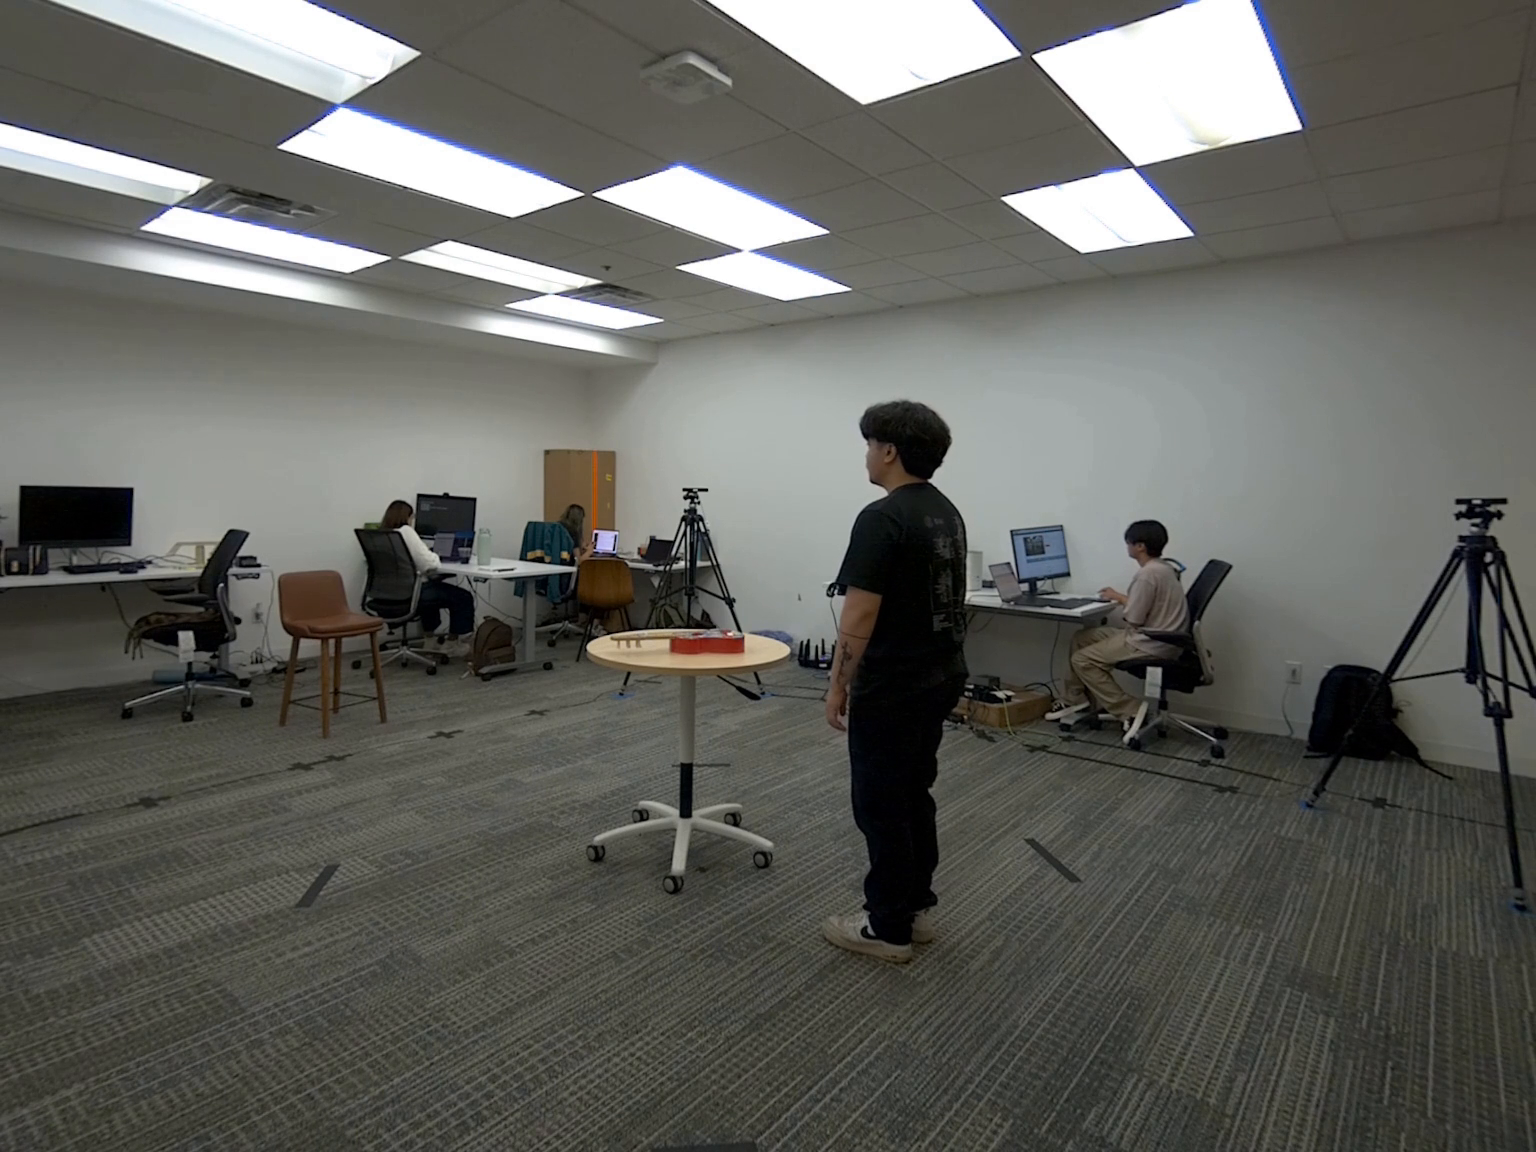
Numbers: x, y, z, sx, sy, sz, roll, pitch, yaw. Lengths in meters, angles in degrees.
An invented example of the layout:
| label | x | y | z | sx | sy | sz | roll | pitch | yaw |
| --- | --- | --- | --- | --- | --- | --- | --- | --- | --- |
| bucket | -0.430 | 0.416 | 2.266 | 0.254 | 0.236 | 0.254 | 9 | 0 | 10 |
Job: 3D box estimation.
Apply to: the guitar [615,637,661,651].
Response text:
| label | x | y | z | sx | sy | sz | roll | pitch | yaw |
| --- | --- | --- | --- | --- | --- | --- | --- | --- | --- |
| guitar | -0.322 | 0.229 | 3.154 | 0.491 | 0.070 | 0.196 | -1 | 3 | -13 |
